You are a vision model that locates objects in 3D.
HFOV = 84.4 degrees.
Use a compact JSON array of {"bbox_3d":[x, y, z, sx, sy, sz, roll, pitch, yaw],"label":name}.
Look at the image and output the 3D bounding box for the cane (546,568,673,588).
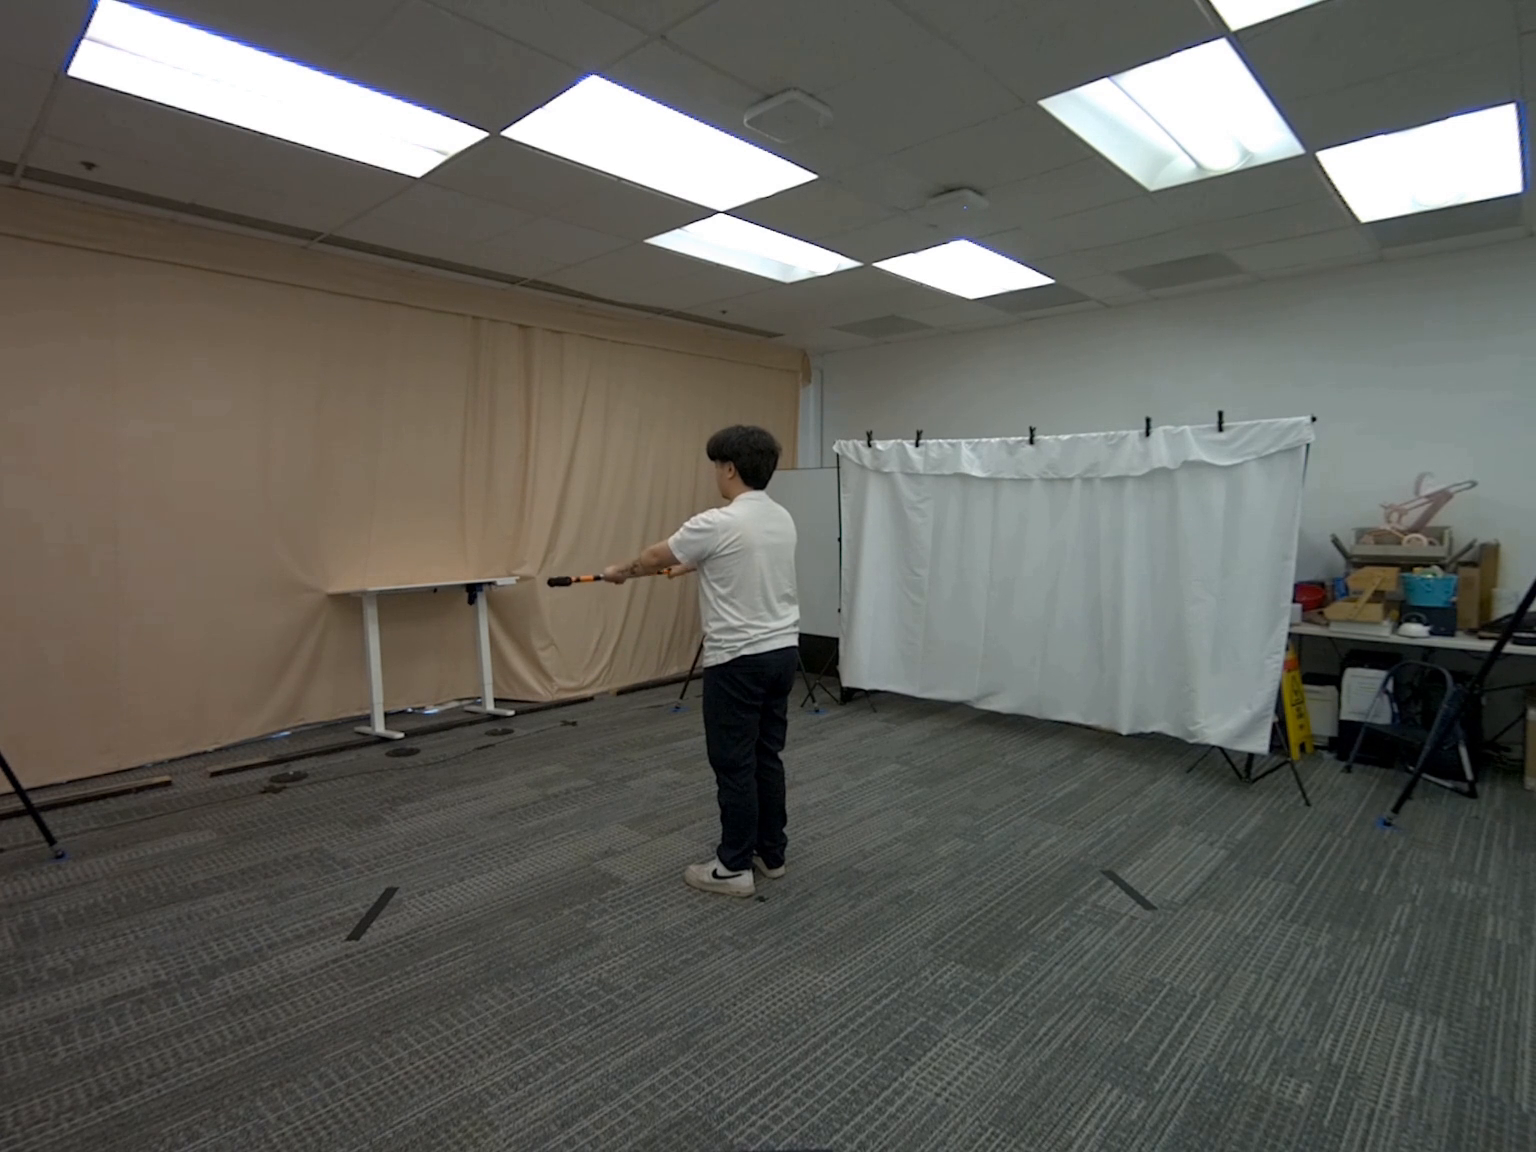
[{"bbox_3d":[-0.507,-0.024,3.420,0.213,0.151,0.881,-3,3,42],"label":"cane"}]
